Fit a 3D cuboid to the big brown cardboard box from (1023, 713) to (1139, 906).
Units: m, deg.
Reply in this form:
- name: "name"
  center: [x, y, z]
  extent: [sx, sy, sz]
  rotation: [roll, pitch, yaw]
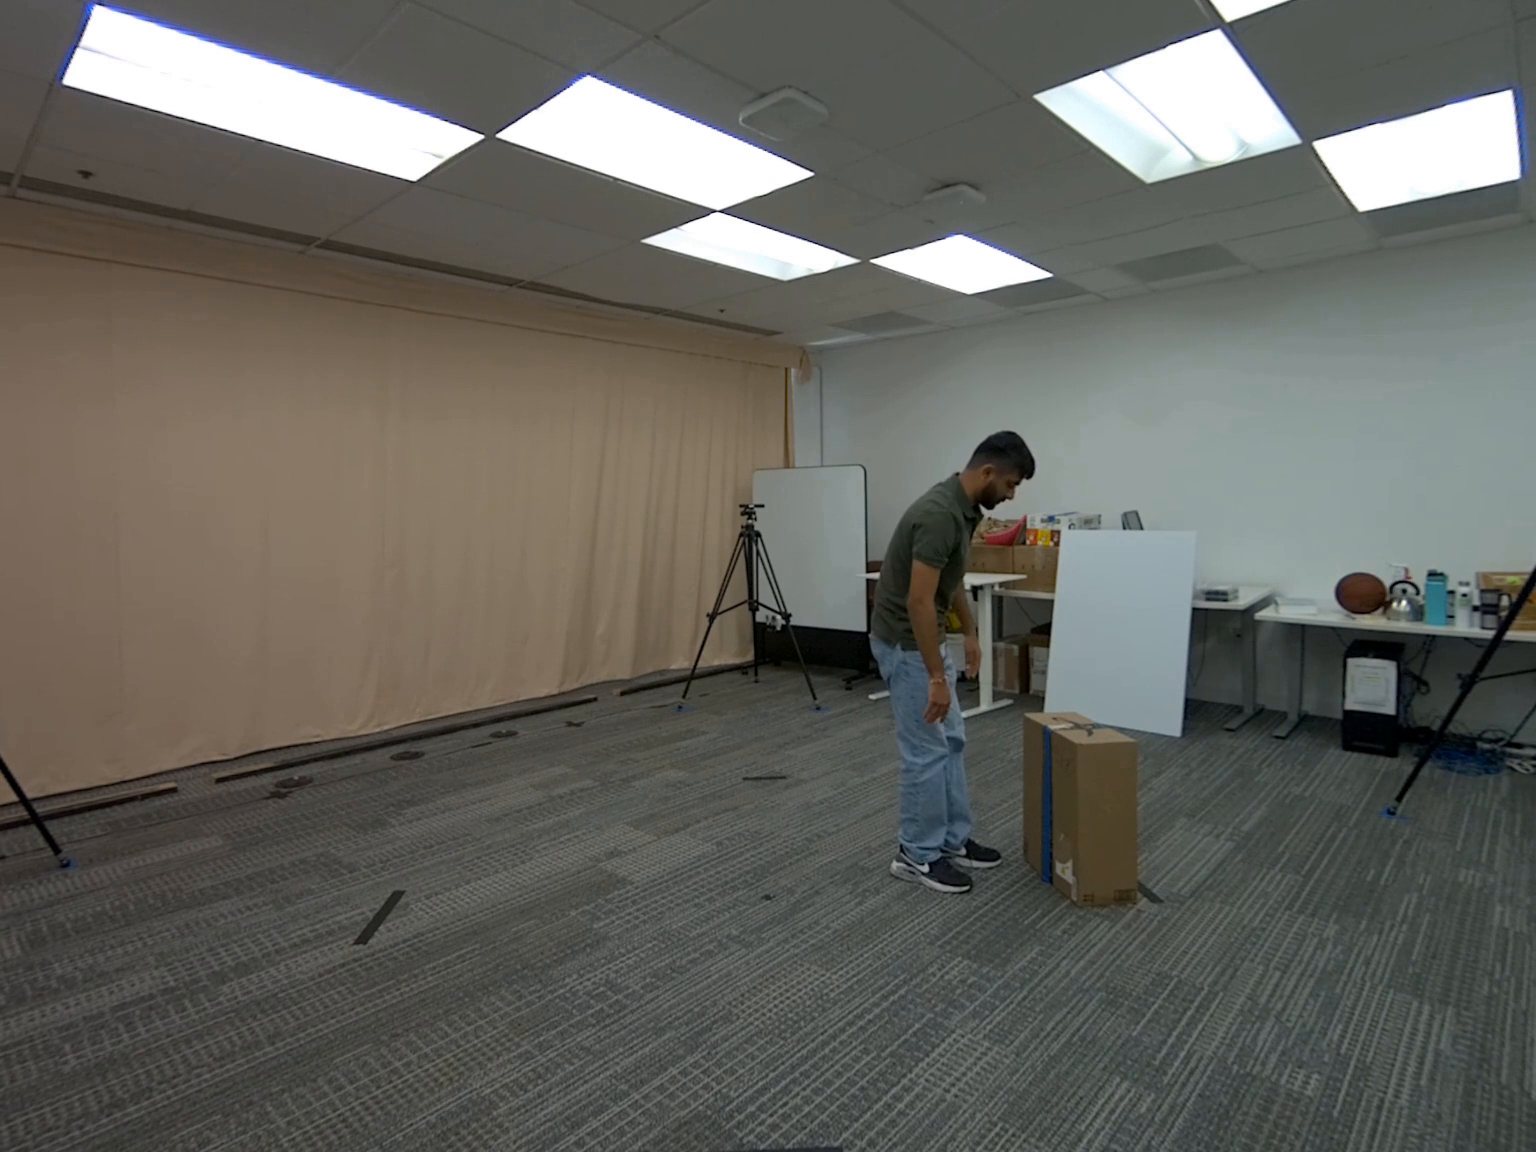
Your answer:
- name: "big brown cardboard box"
  center: [1.133, 0.836, 3.068]
  extent: [0.231, 0.588, 0.421]
  rotation: [0, 3, -8]
